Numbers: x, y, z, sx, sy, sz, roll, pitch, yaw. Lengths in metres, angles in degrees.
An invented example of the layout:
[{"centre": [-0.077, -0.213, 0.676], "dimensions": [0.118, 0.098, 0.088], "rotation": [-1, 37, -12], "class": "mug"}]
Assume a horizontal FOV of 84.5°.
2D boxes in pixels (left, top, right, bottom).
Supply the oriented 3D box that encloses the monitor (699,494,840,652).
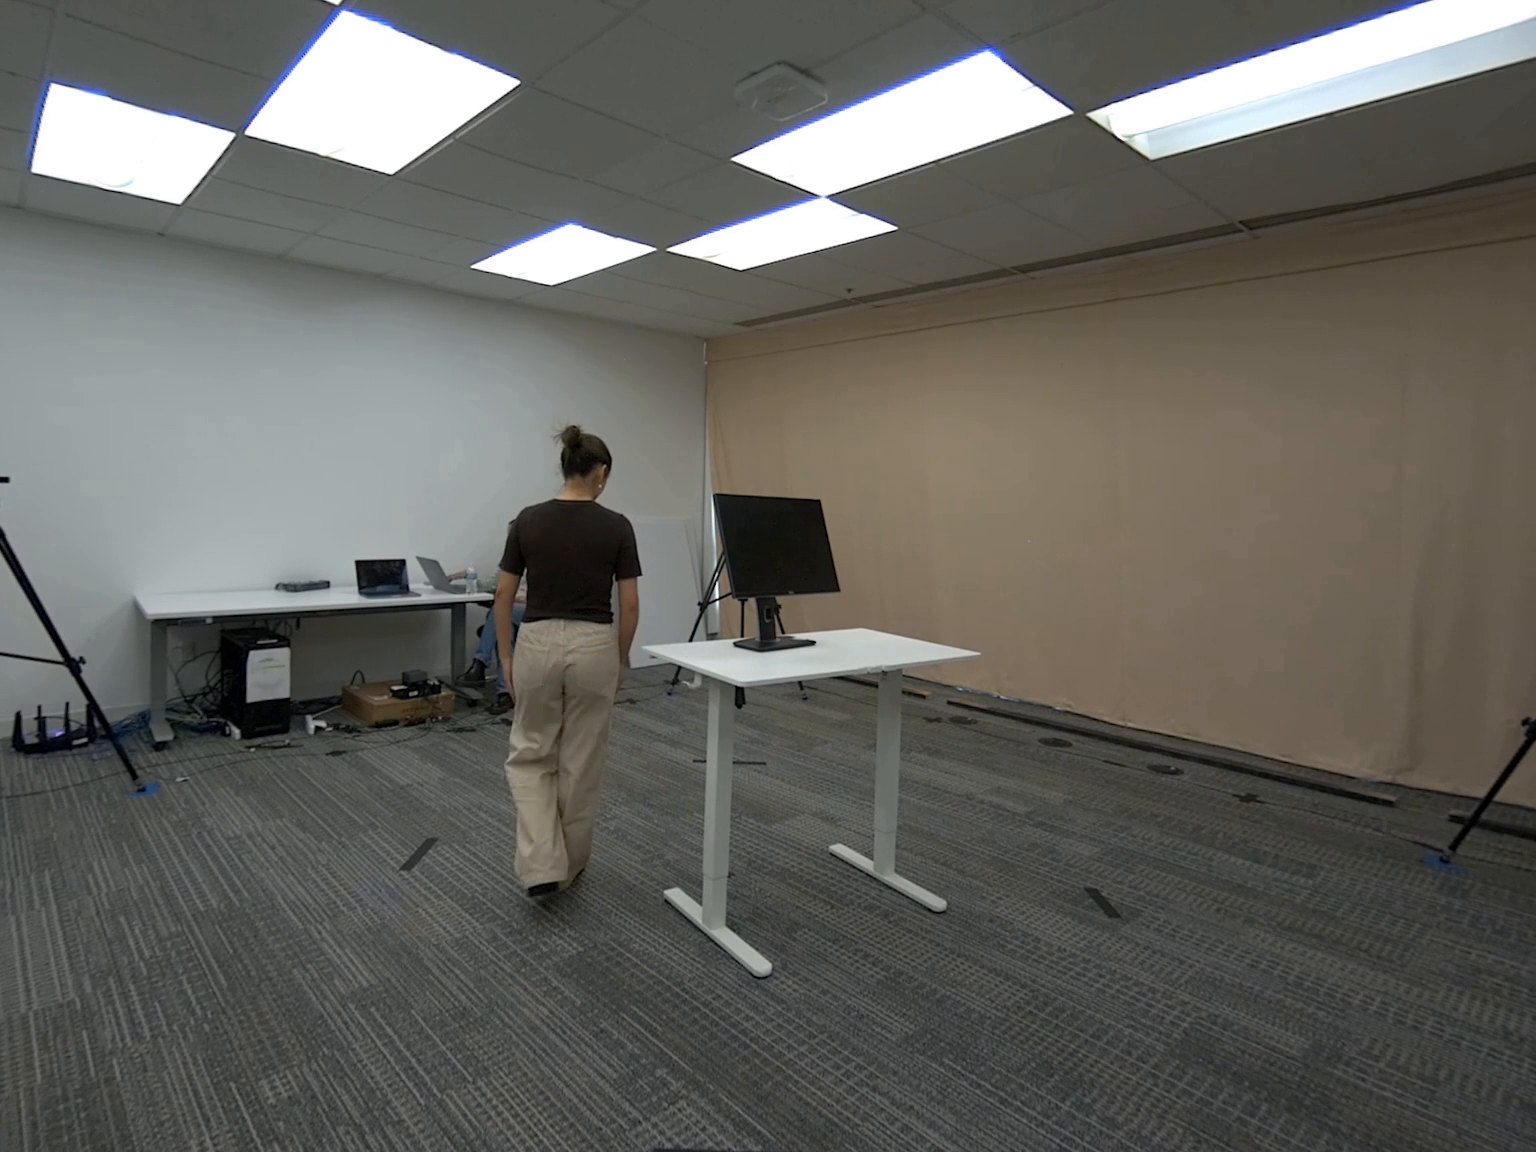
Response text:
[{"centre": [0.017, -0.011, 2.913], "dimensions": [0.191, 0.522, 0.527], "rotation": [0, 1, 42], "class": "monitor"}]
